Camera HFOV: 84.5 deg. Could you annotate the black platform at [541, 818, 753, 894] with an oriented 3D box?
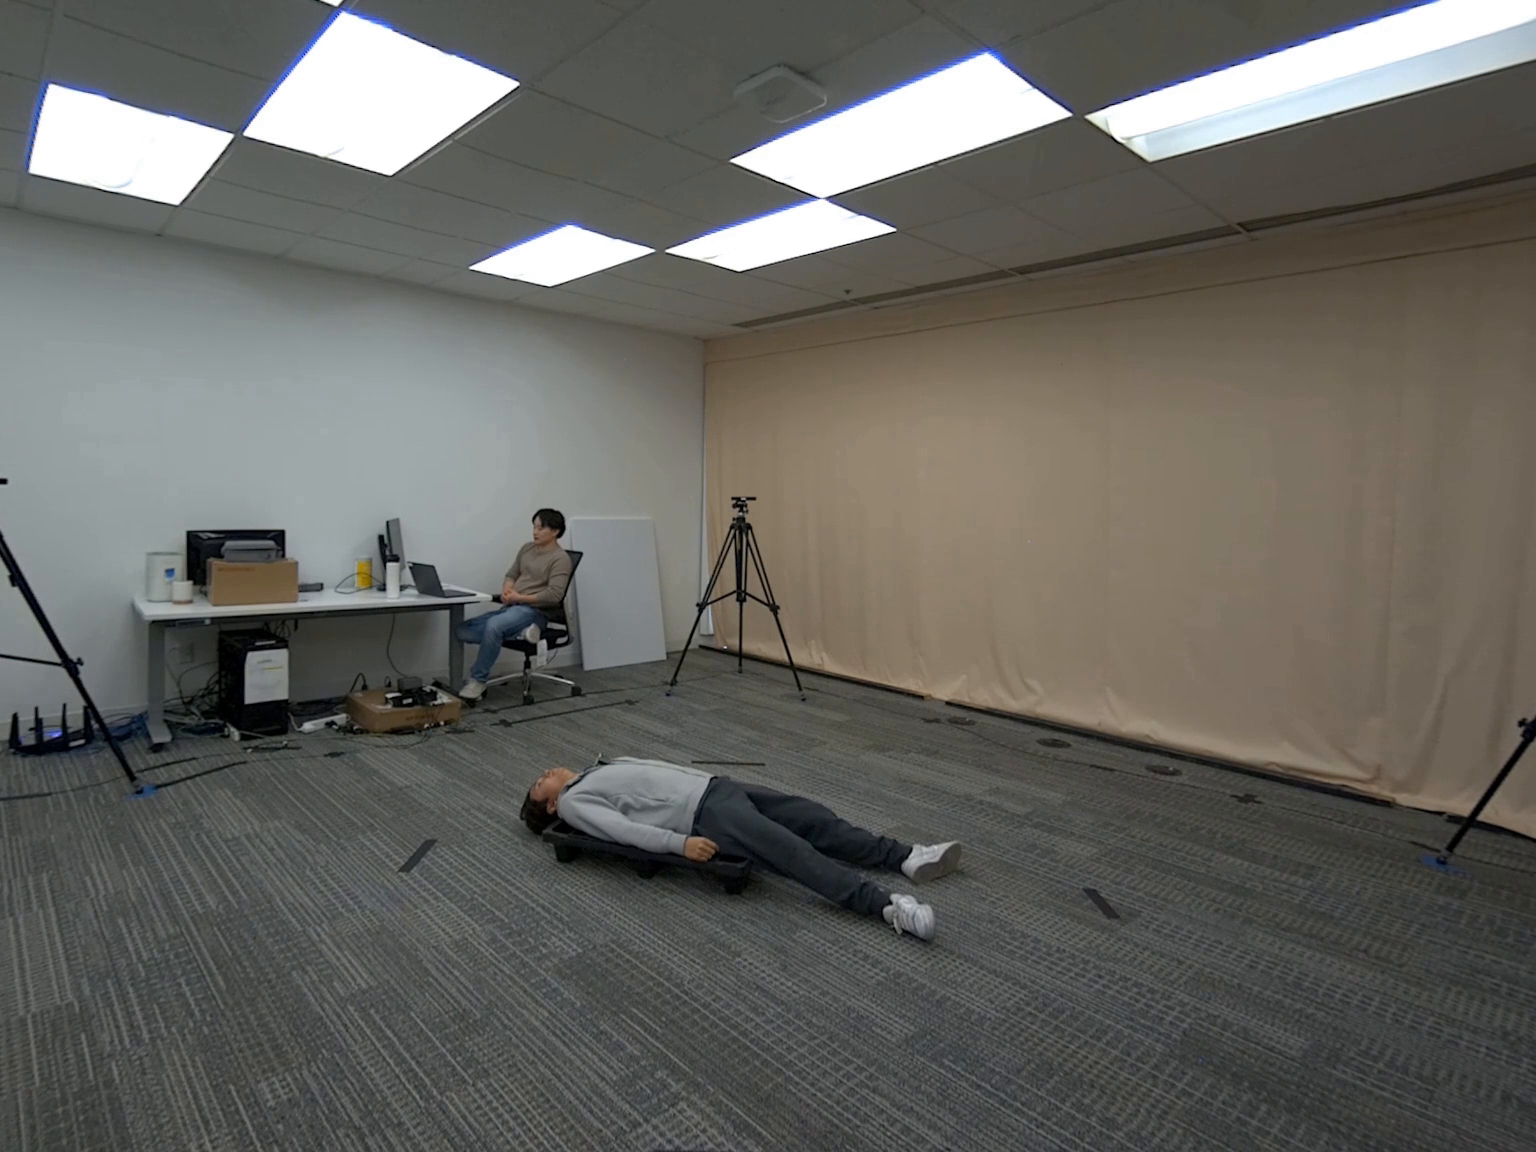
[{"bbox_3d":[-0.390,1.001,3.286,0.819,0.142,0.598,2,8,21],"label":"black platform"}]
